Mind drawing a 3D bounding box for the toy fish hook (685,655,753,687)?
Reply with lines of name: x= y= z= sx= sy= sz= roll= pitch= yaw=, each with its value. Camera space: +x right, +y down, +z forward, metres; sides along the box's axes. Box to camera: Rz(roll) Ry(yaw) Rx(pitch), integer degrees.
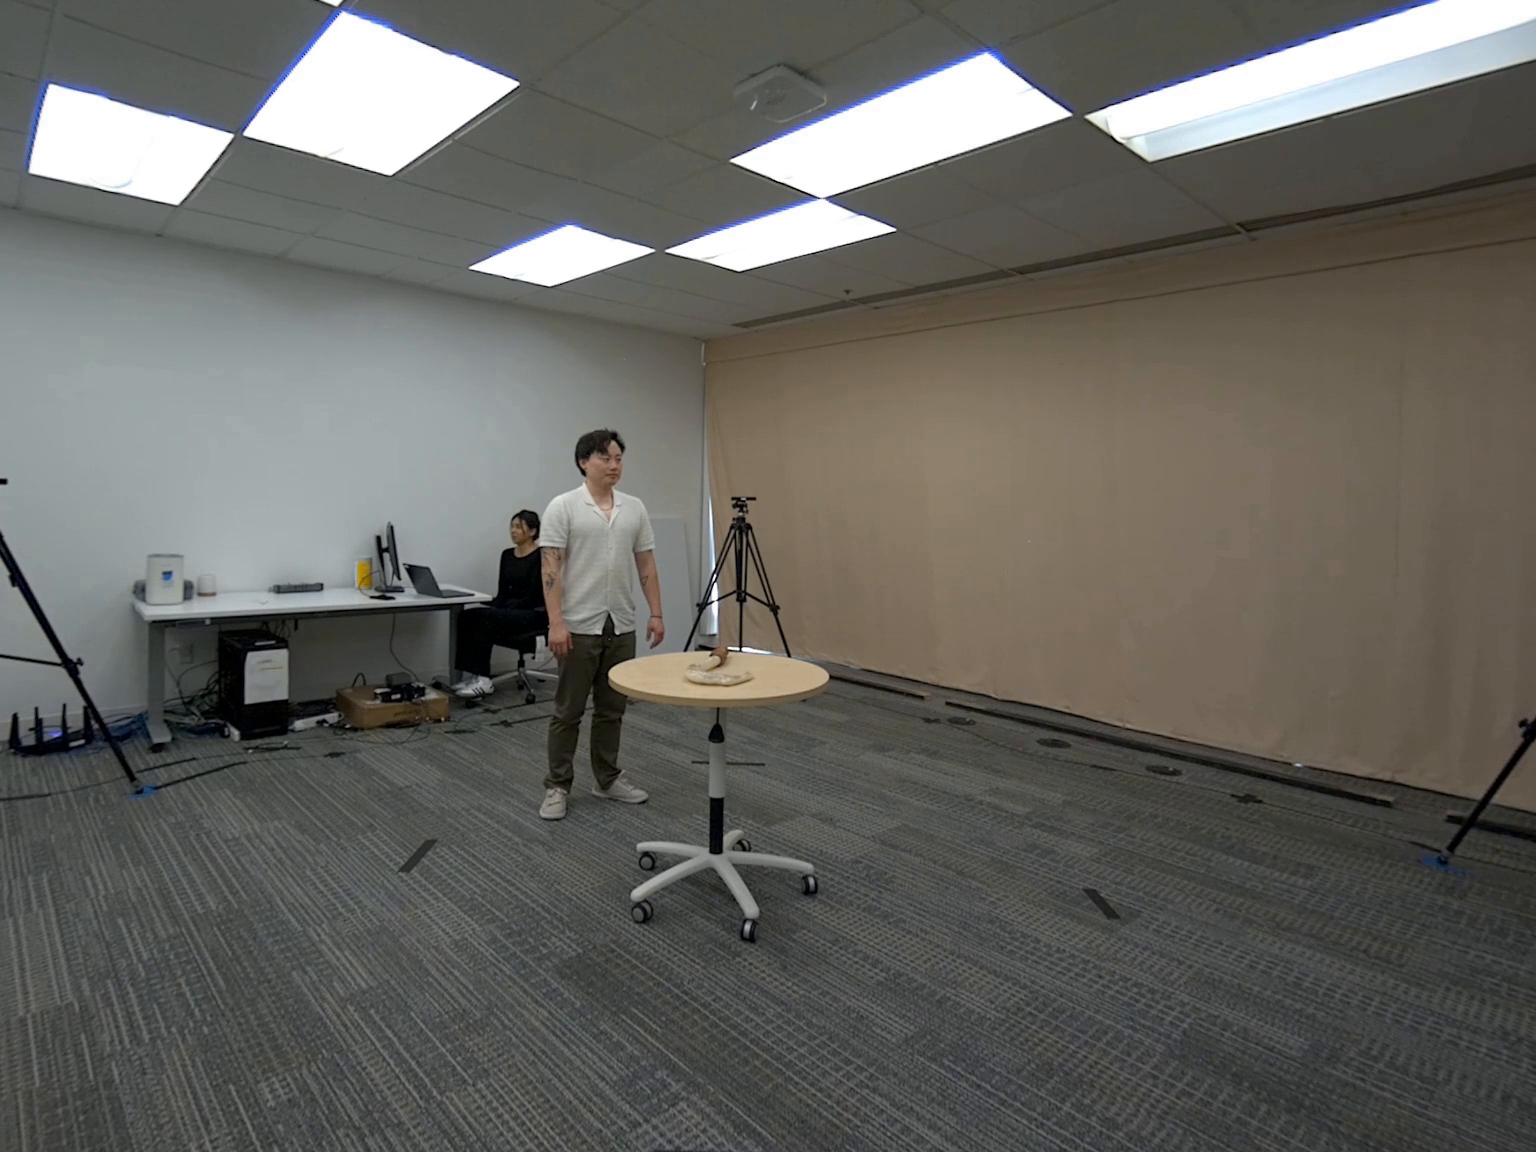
toy fish hook: x=-0.149 y=0.321 z=2.968 sx=0.226 sy=0.048 sz=0.505 roll=9 pitch=8 yaw=7
